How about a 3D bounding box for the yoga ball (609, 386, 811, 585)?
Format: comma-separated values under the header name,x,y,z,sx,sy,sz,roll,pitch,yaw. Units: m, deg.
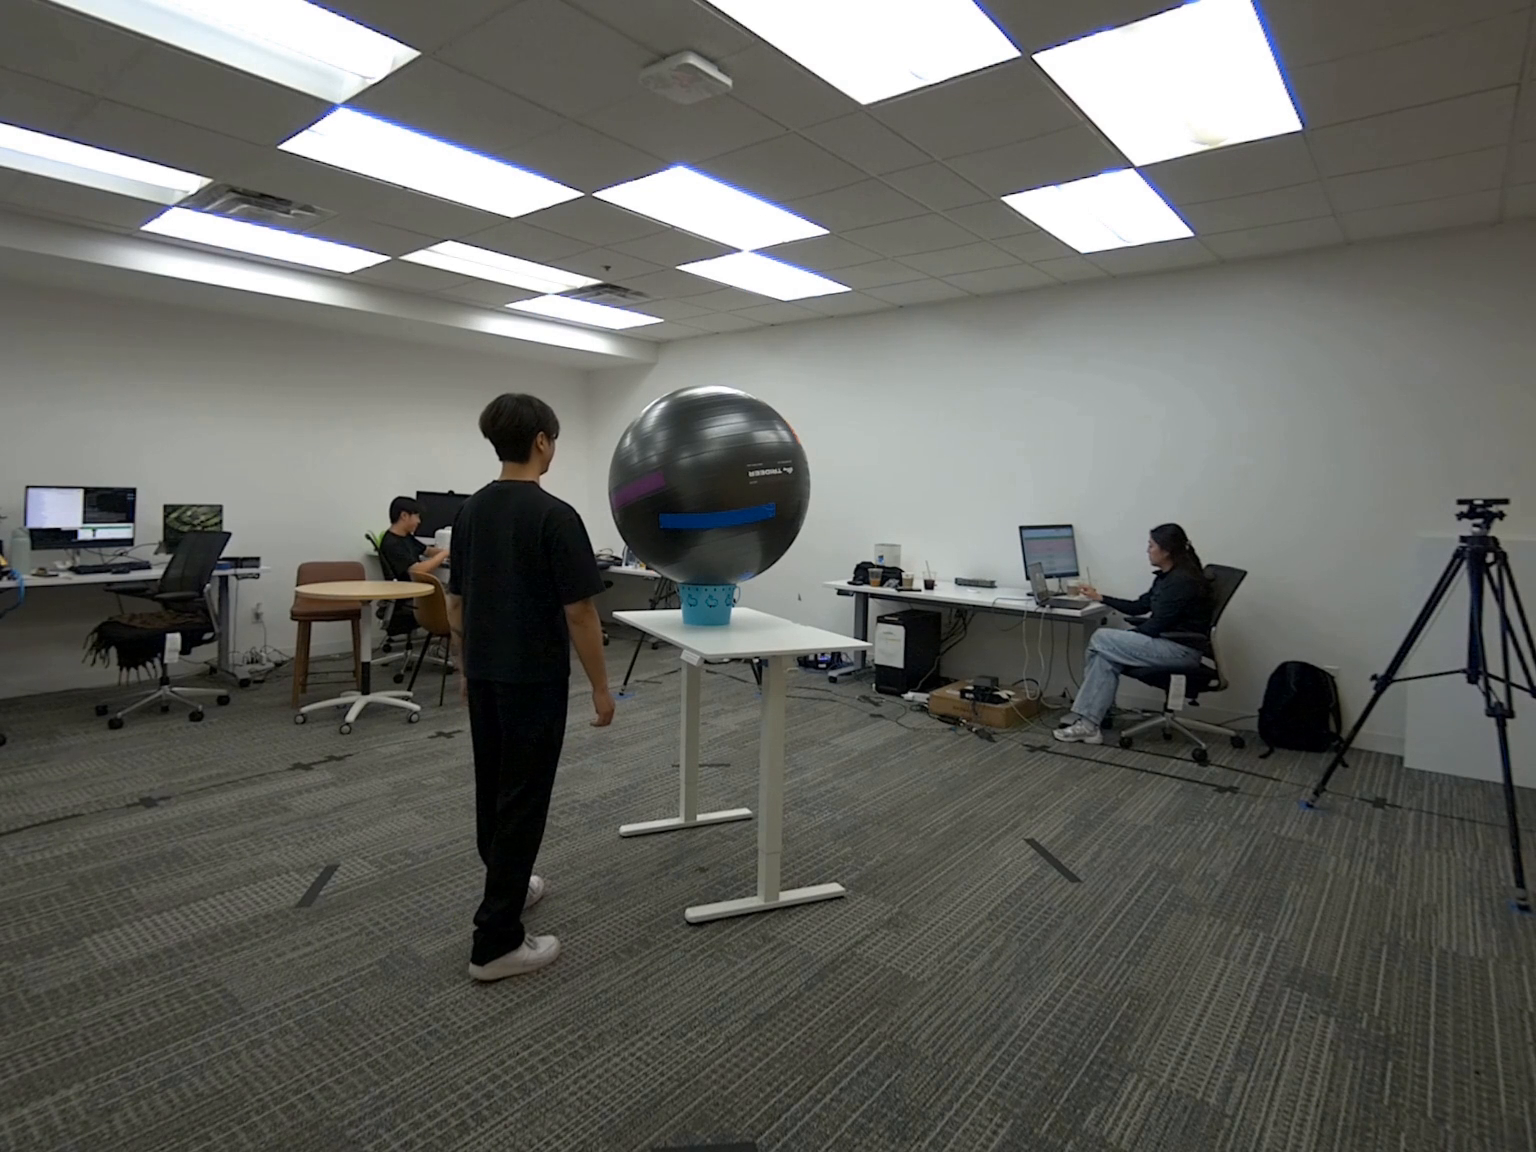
name,x,y,z,sx,sy,sz,roll,pitch,yaw
yoga ball,-0.236,-0.338,3.218,0.757,0.756,0.762,1,4,-2
